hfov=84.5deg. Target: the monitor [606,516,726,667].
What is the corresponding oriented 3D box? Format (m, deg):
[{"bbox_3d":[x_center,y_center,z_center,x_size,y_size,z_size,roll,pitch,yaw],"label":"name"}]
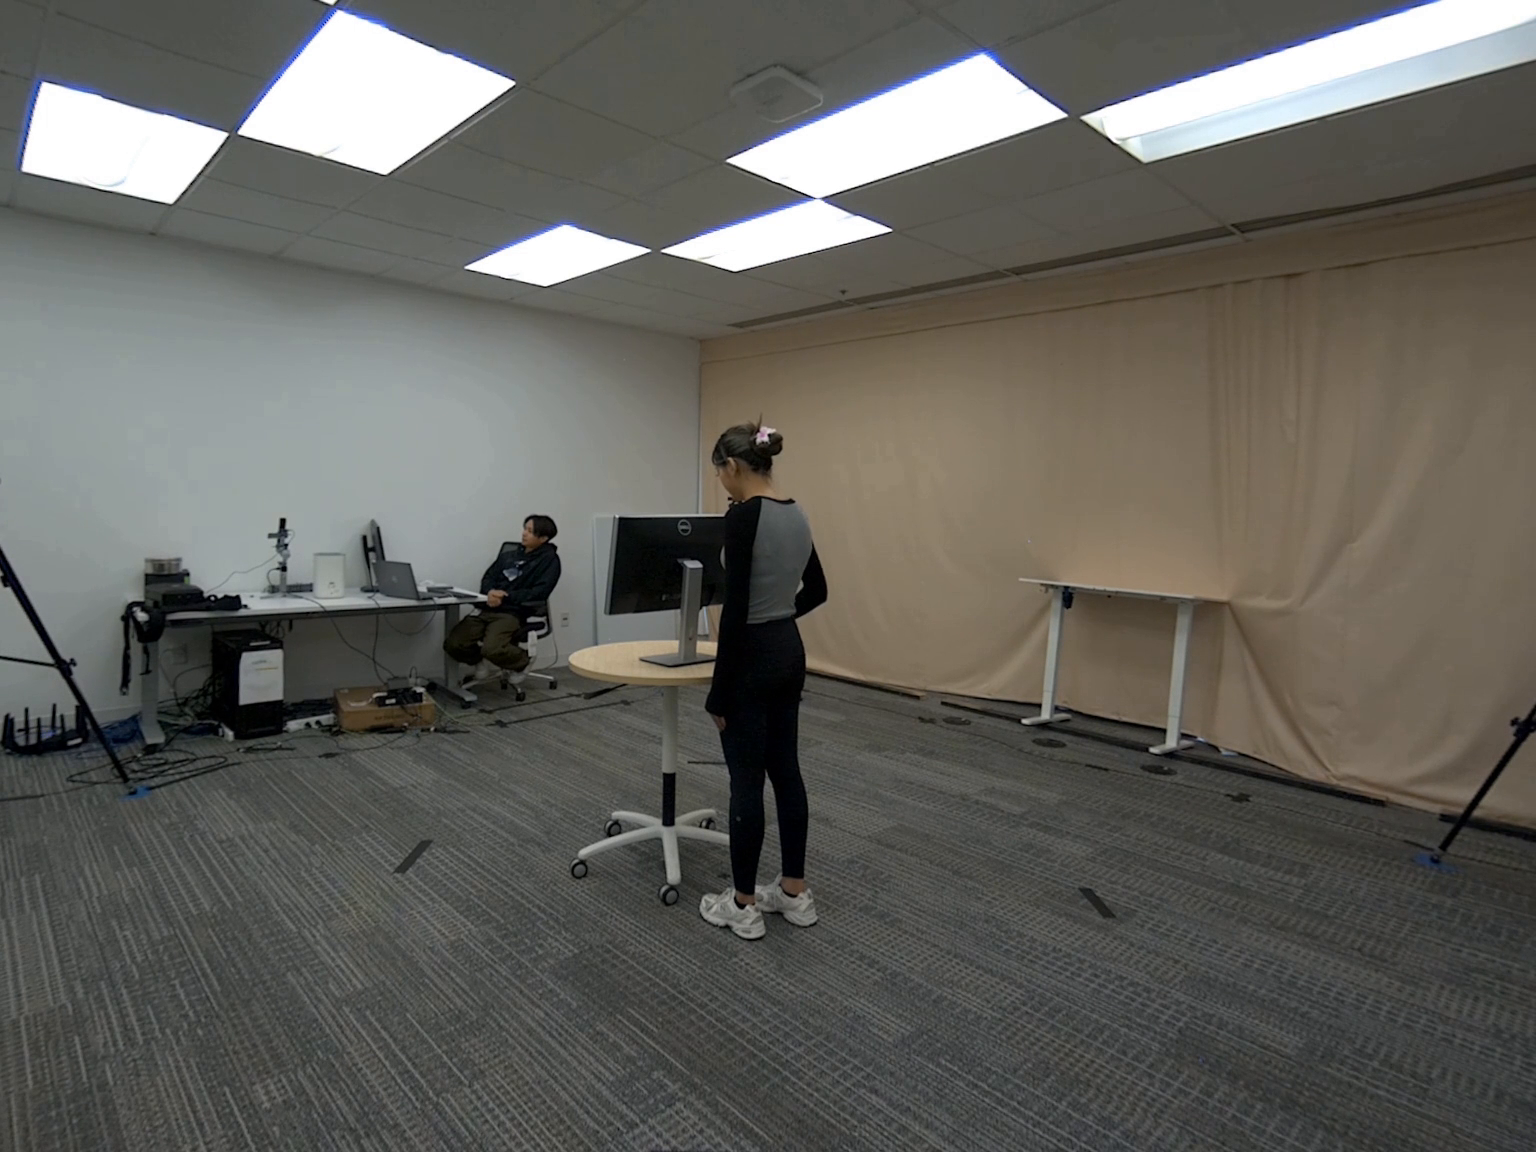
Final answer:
[{"bbox_3d":[-0.329,0.050,3.107,0.527,0.522,0.191,-3,3,-43],"label":"monitor"}]
